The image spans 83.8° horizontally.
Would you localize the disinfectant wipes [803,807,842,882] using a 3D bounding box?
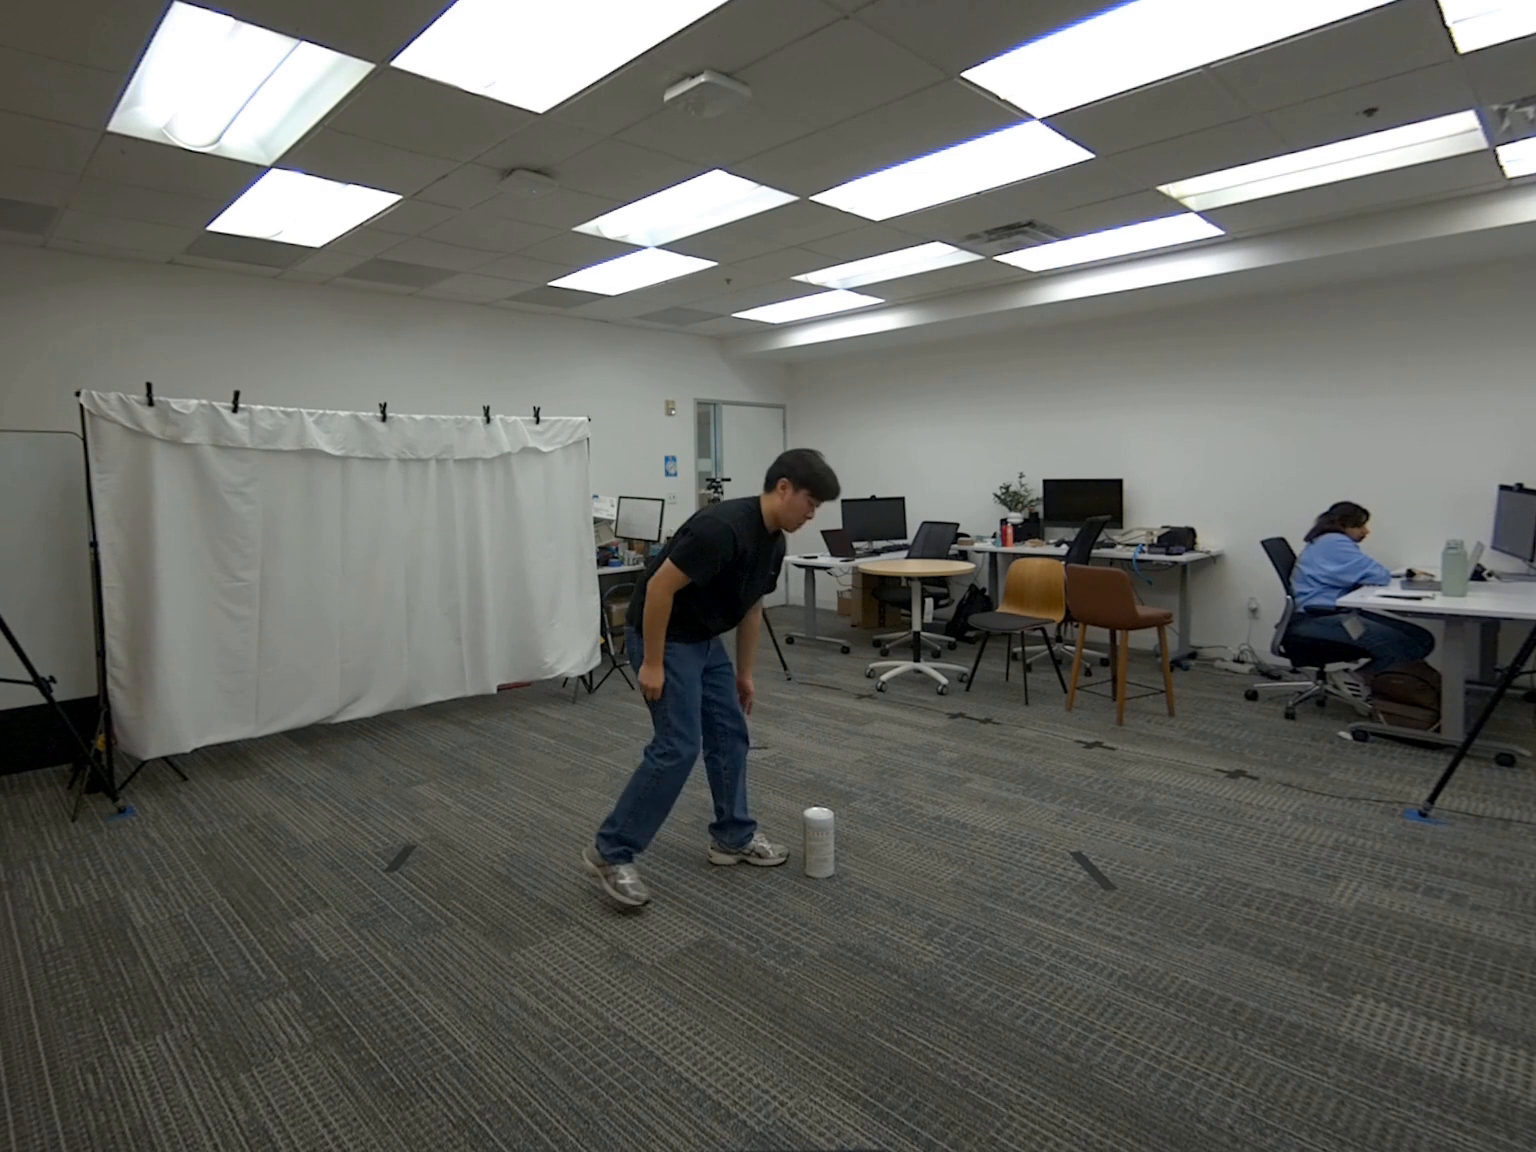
[{"bbox_3d":[0.188,0.939,3.011,0.118,0.217,0.118,0,1,-2],"label":"disinfectant wipes"}]
